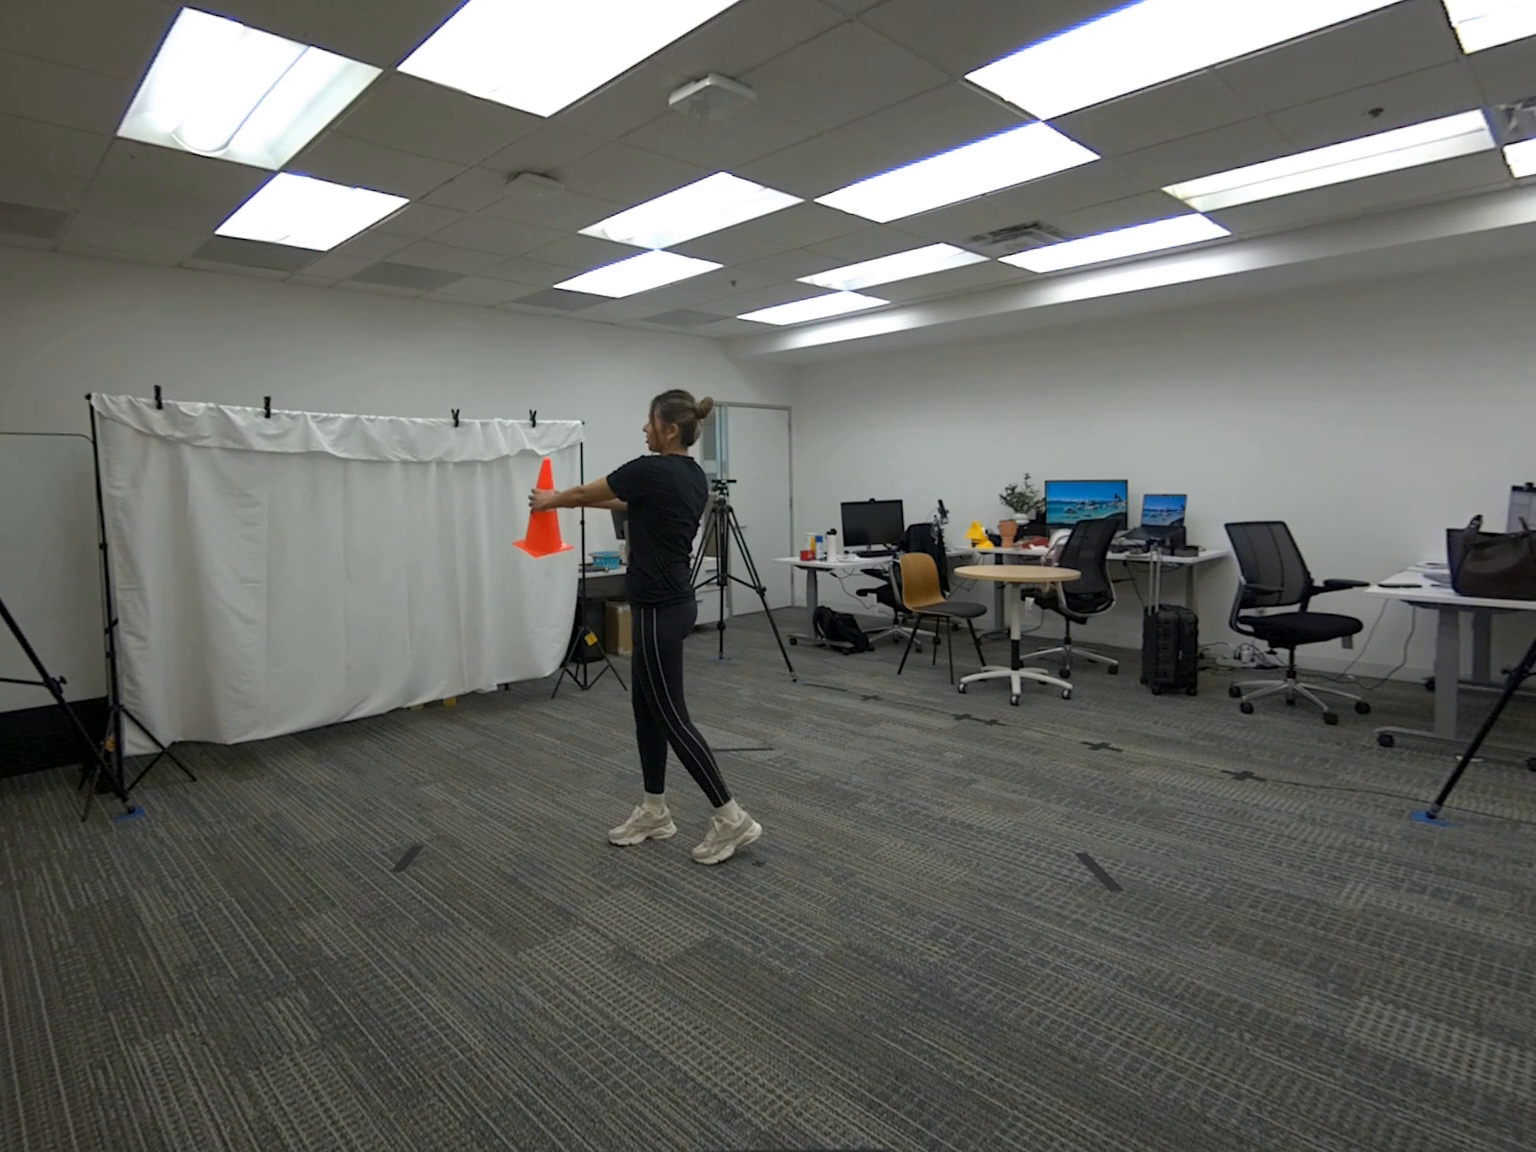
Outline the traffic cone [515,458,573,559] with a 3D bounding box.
[{"bbox_3d":[-0.932,-0.298,3.545,0.211,0.378,0.200,18,23,28],"label":"traffic cone"}]
